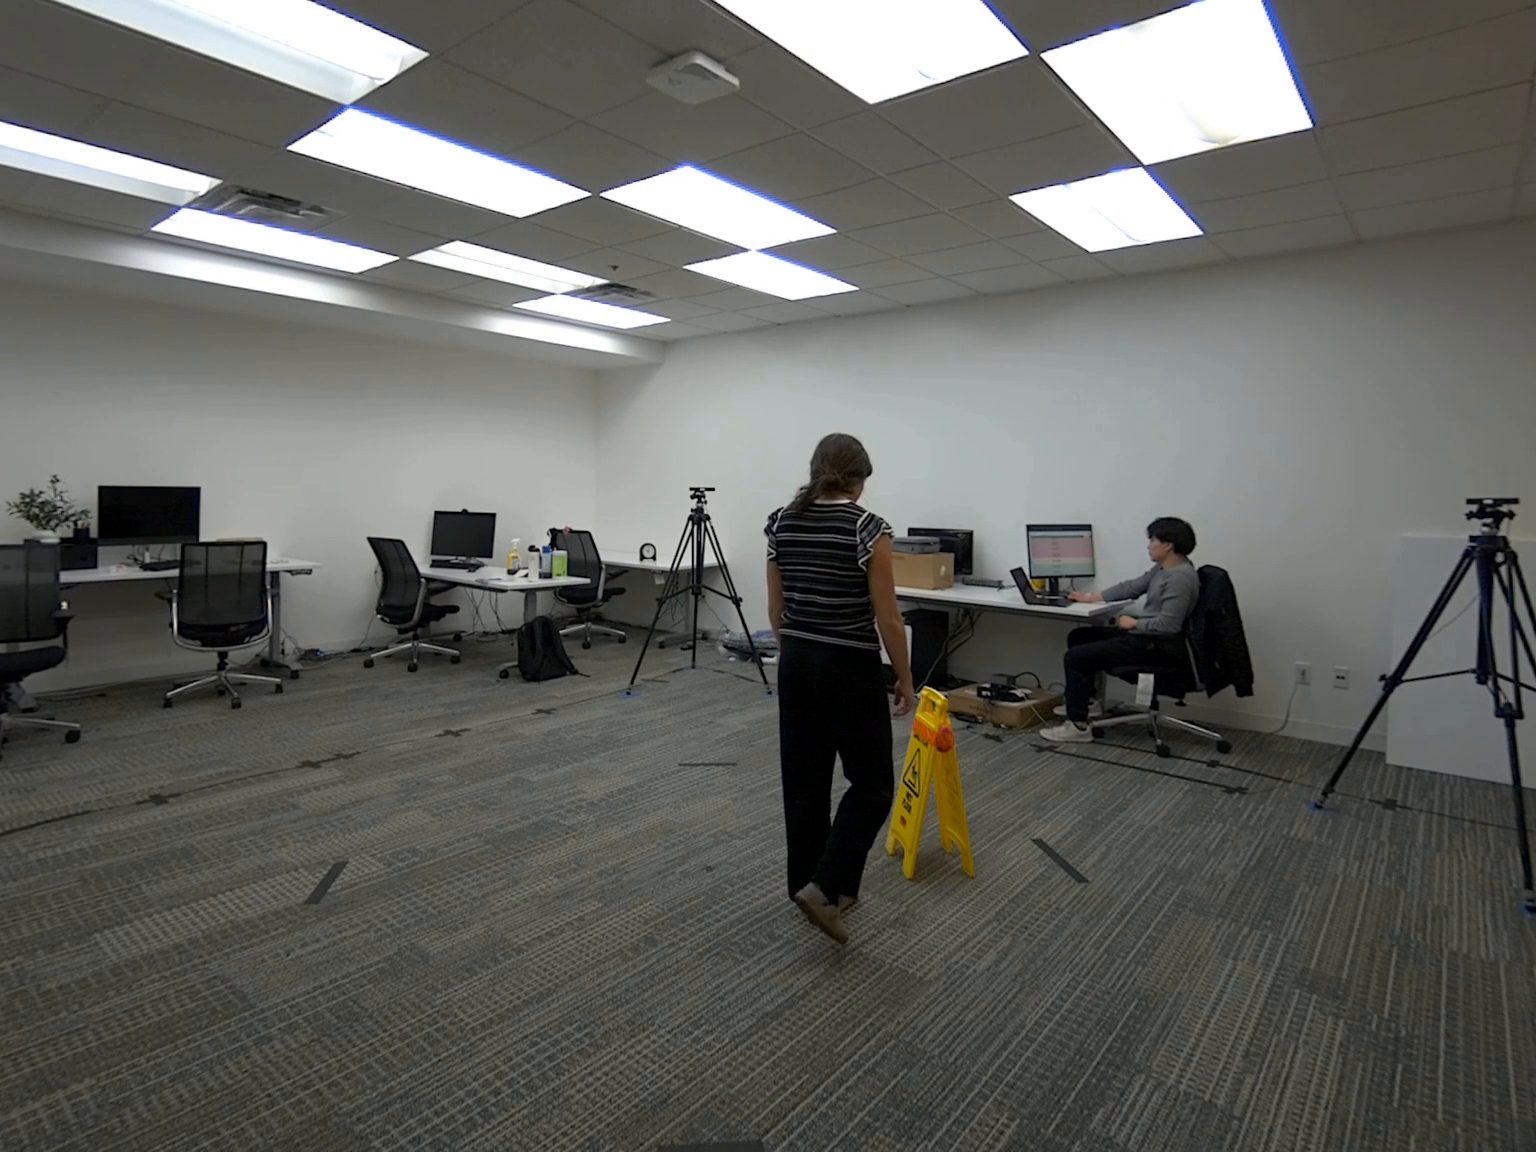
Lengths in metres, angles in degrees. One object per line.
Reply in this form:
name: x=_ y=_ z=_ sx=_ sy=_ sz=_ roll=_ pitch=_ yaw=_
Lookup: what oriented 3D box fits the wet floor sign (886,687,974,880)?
wet floor sign: x=0.612 y=0.751 z=3.189 sx=0.287 sy=0.644 sz=0.286 roll=1 pitch=4 yaw=-10
